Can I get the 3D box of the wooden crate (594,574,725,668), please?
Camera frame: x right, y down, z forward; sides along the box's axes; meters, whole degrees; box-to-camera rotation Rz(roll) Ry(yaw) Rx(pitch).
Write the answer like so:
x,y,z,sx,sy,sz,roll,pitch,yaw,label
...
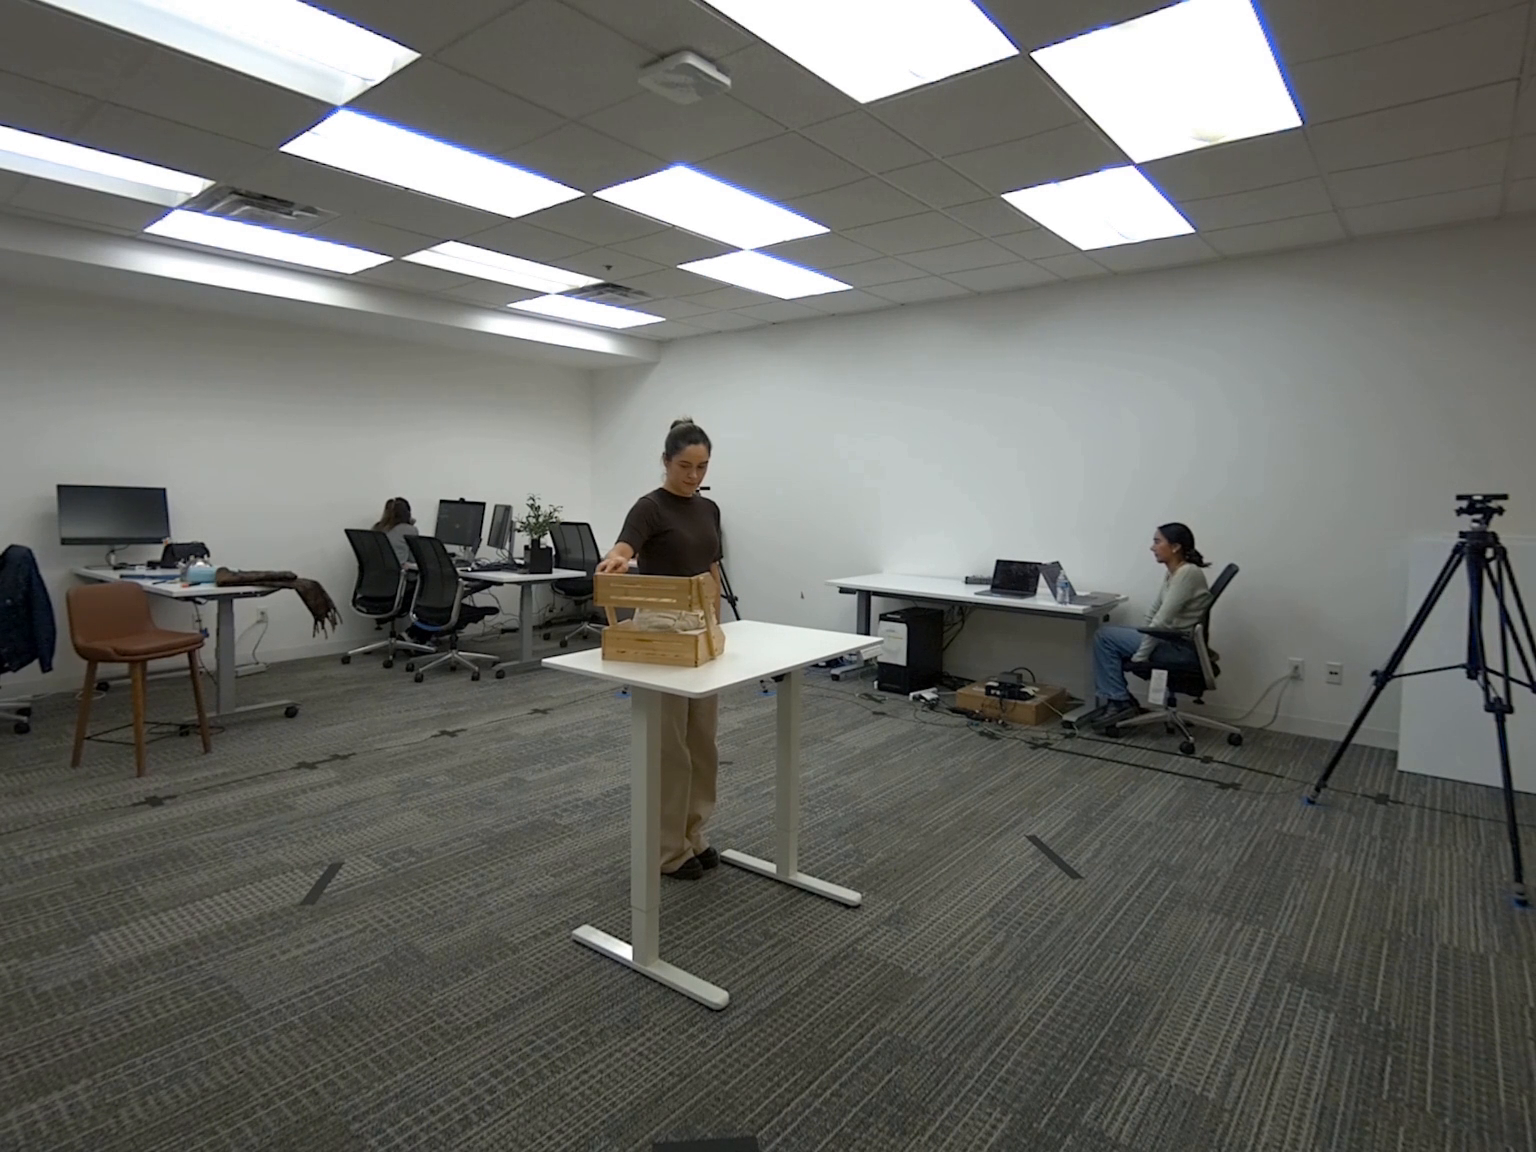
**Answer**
x,y,z,sx,sy,sz,roll,pitch,yaw,label
-0.328,0.108,2.534,0.330,0.272,0.298,2,5,17,wooden crate
